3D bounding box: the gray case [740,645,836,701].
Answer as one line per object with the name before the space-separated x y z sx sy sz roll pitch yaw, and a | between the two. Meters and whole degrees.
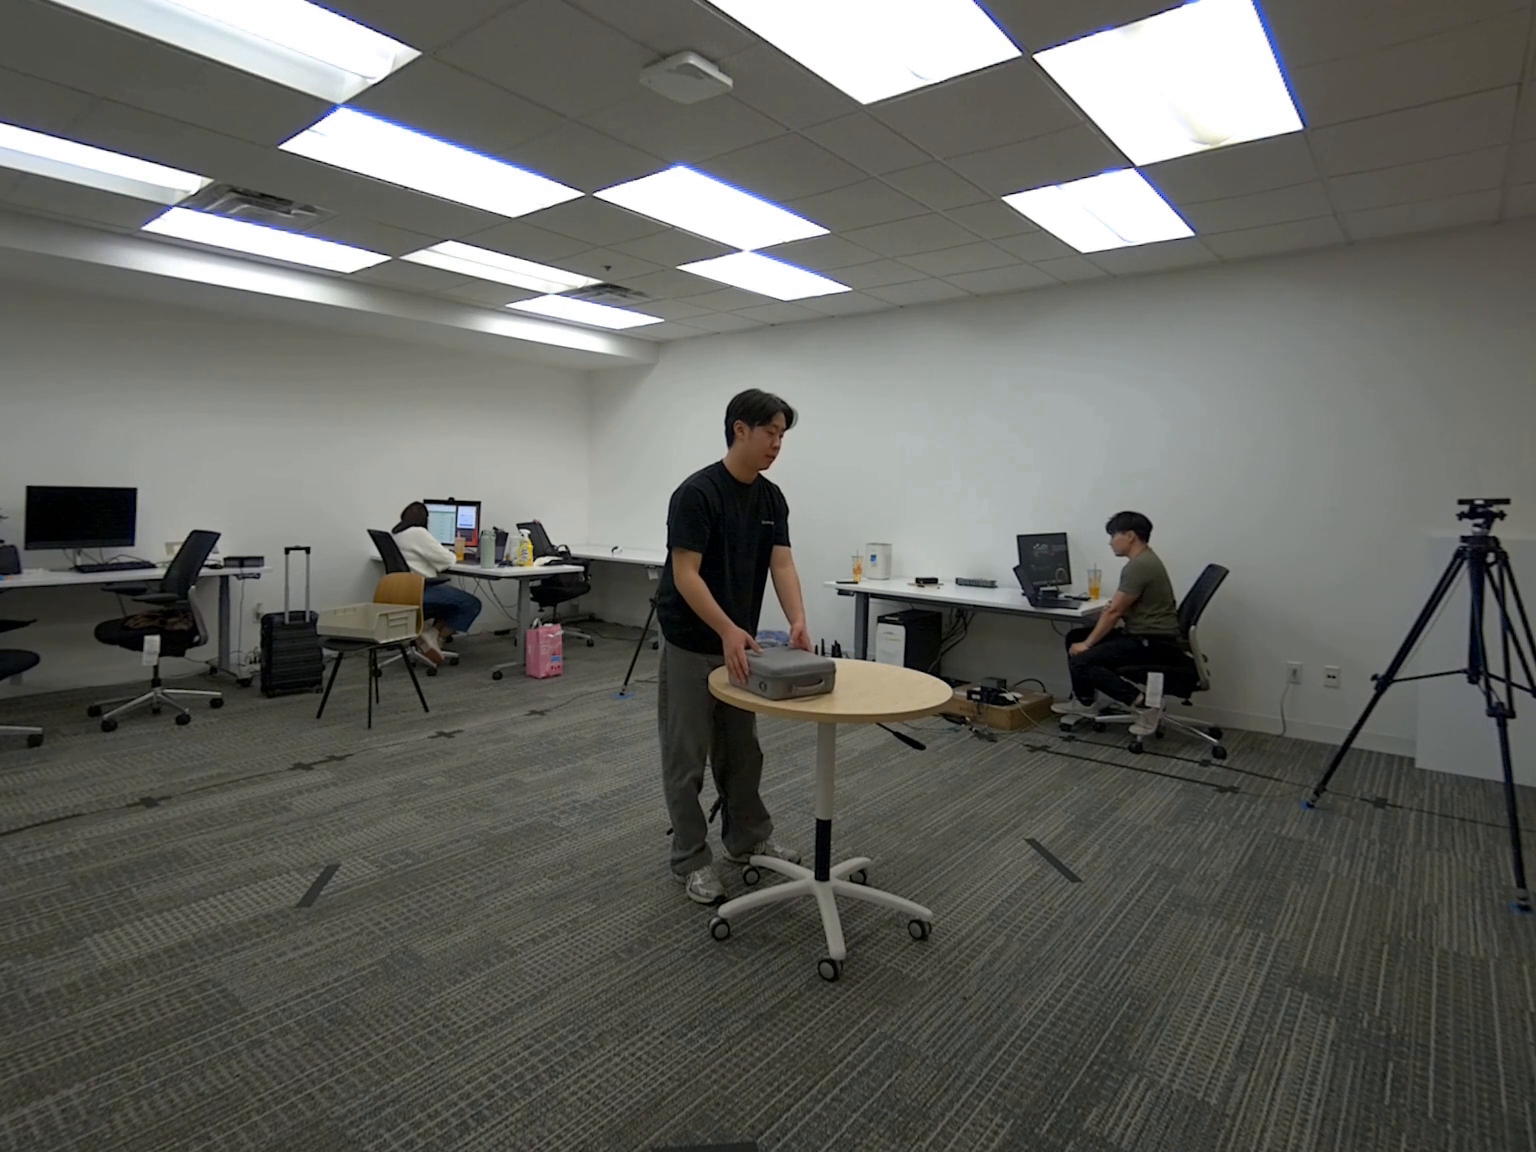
gray case | 0.052 0.296 2.585 0.256 0.102 0.297 -2 7 -33
